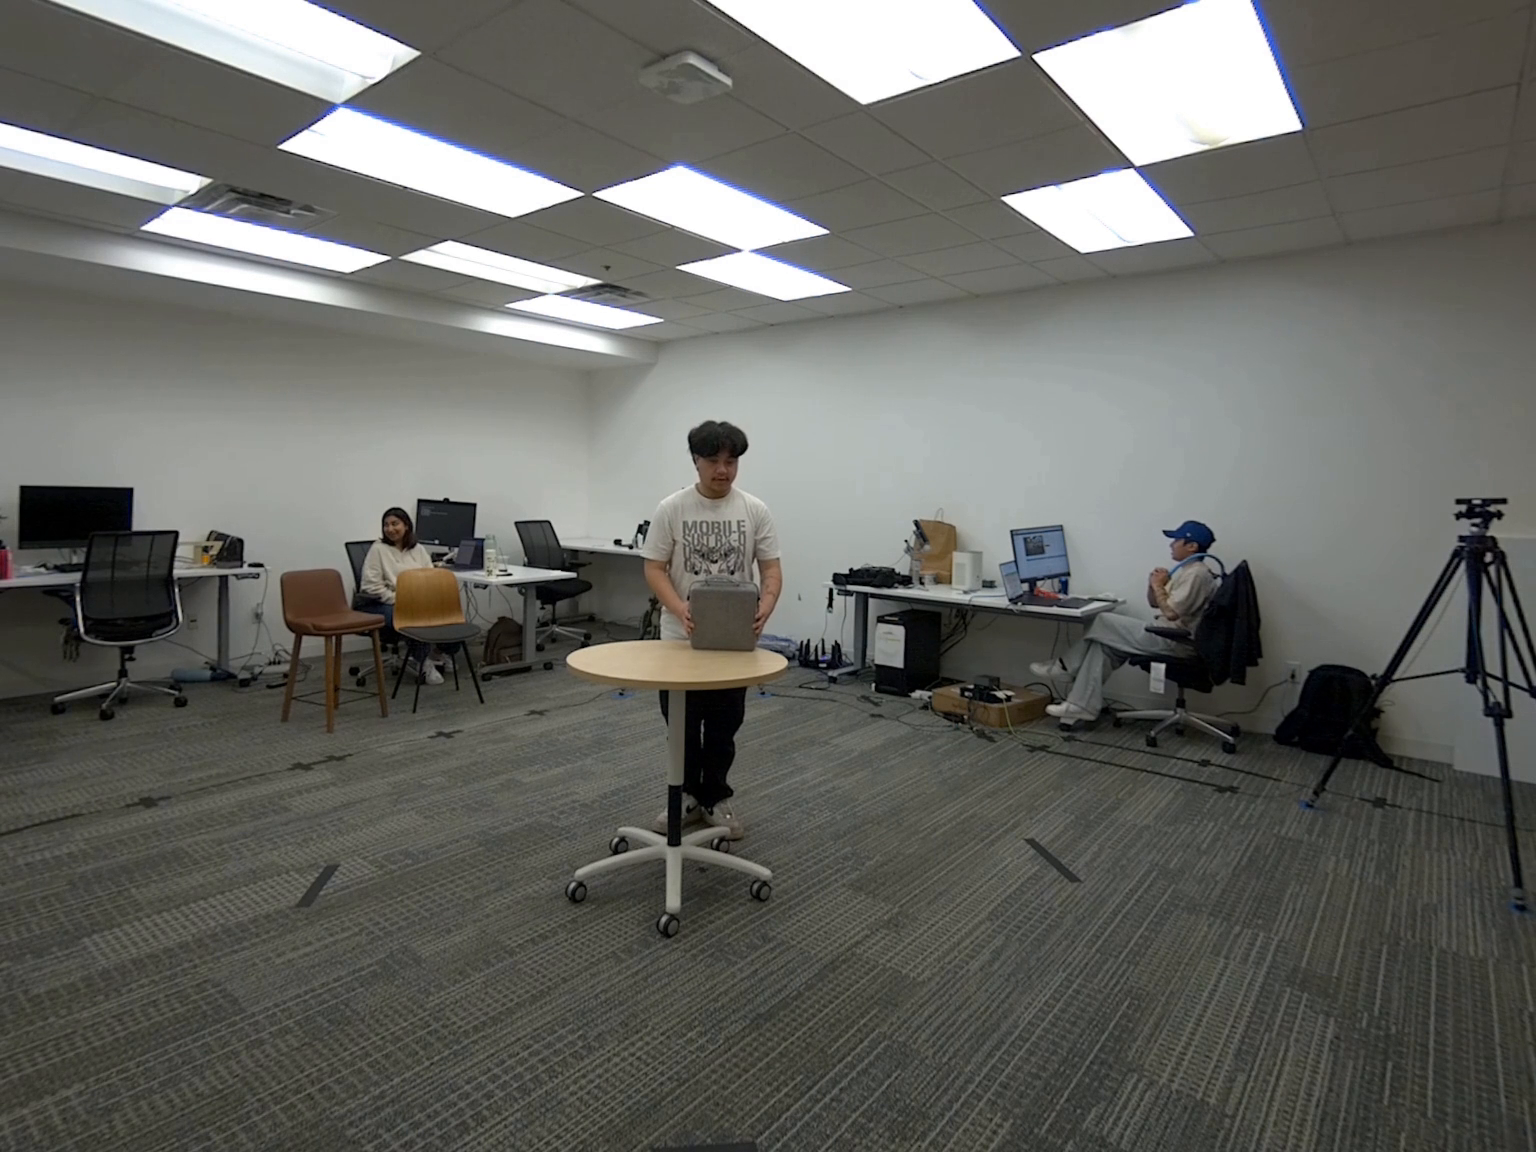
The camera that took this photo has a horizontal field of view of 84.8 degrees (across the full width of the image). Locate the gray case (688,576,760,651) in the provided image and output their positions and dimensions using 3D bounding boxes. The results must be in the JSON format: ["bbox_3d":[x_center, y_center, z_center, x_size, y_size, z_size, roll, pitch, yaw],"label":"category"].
[{"bbox_3d":[-0.175,0.136,3.139,0.259,0.257,0.105,1,14,6],"label":"gray case"}]
